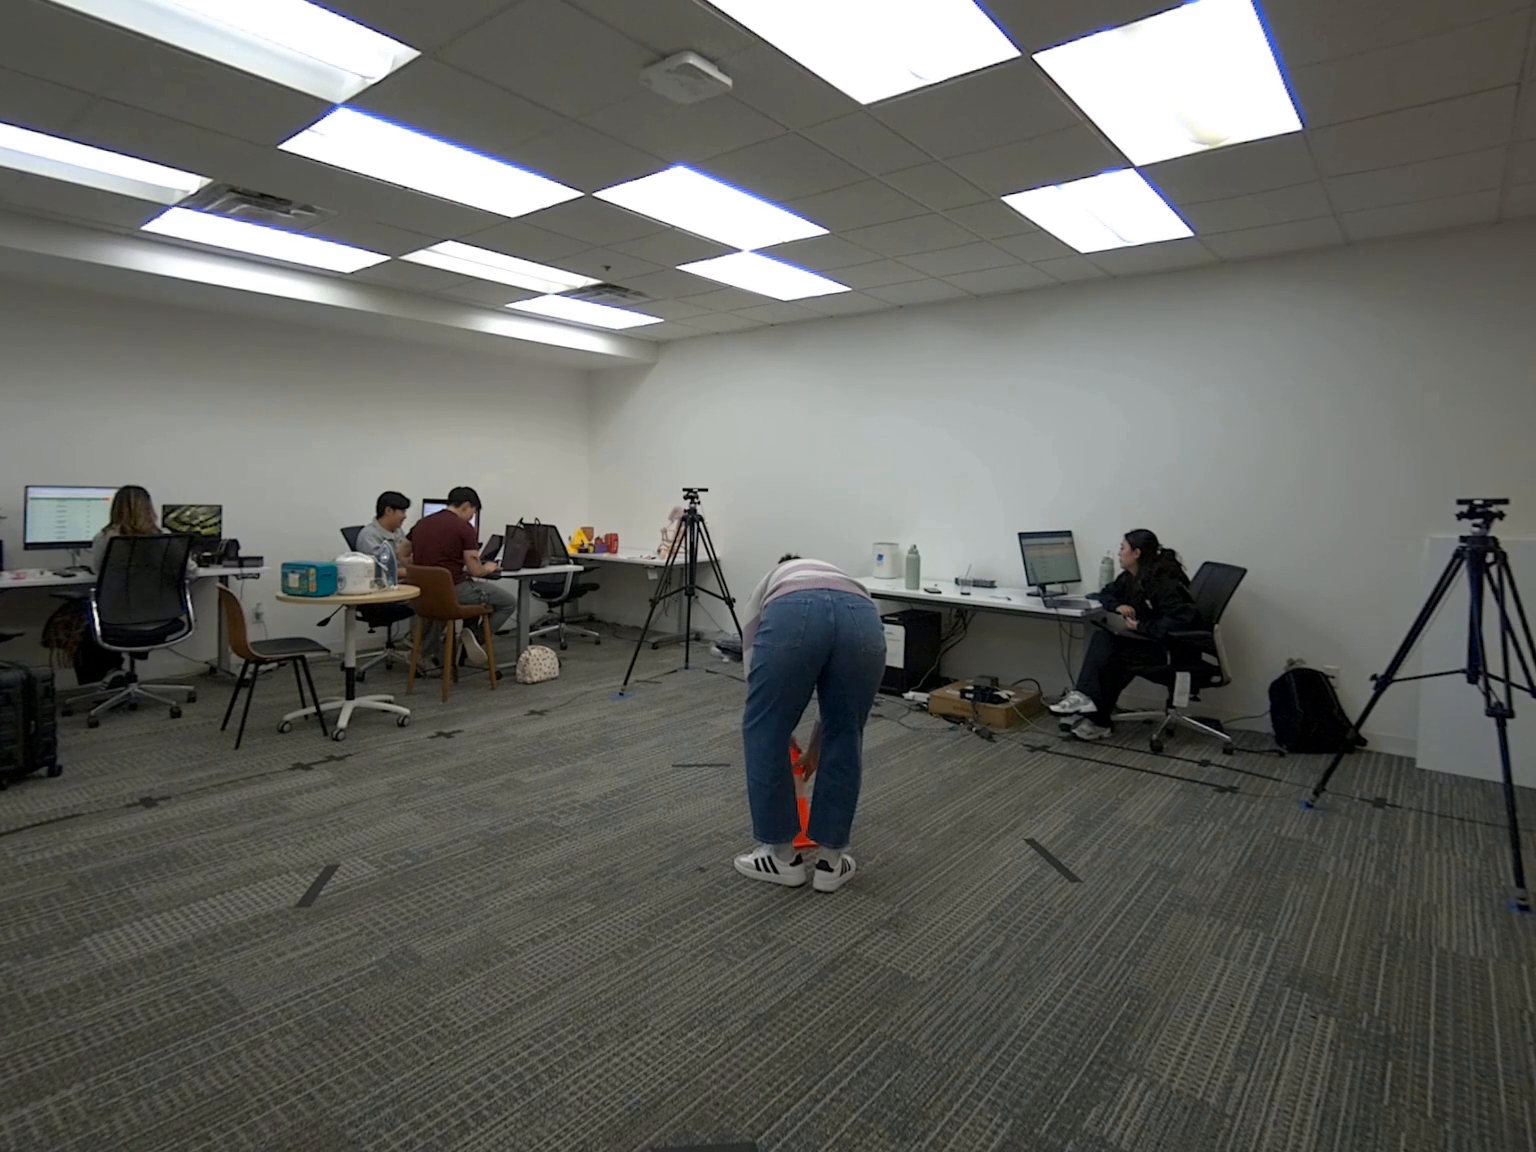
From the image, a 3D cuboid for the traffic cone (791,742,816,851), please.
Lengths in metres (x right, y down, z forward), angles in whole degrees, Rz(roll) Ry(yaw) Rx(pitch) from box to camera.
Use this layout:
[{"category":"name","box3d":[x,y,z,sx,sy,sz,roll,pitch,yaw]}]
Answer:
[{"category":"traffic cone","box3d":[0.101,0.850,3.398,0.201,0.385,0.207,4,-3,-19]}]
